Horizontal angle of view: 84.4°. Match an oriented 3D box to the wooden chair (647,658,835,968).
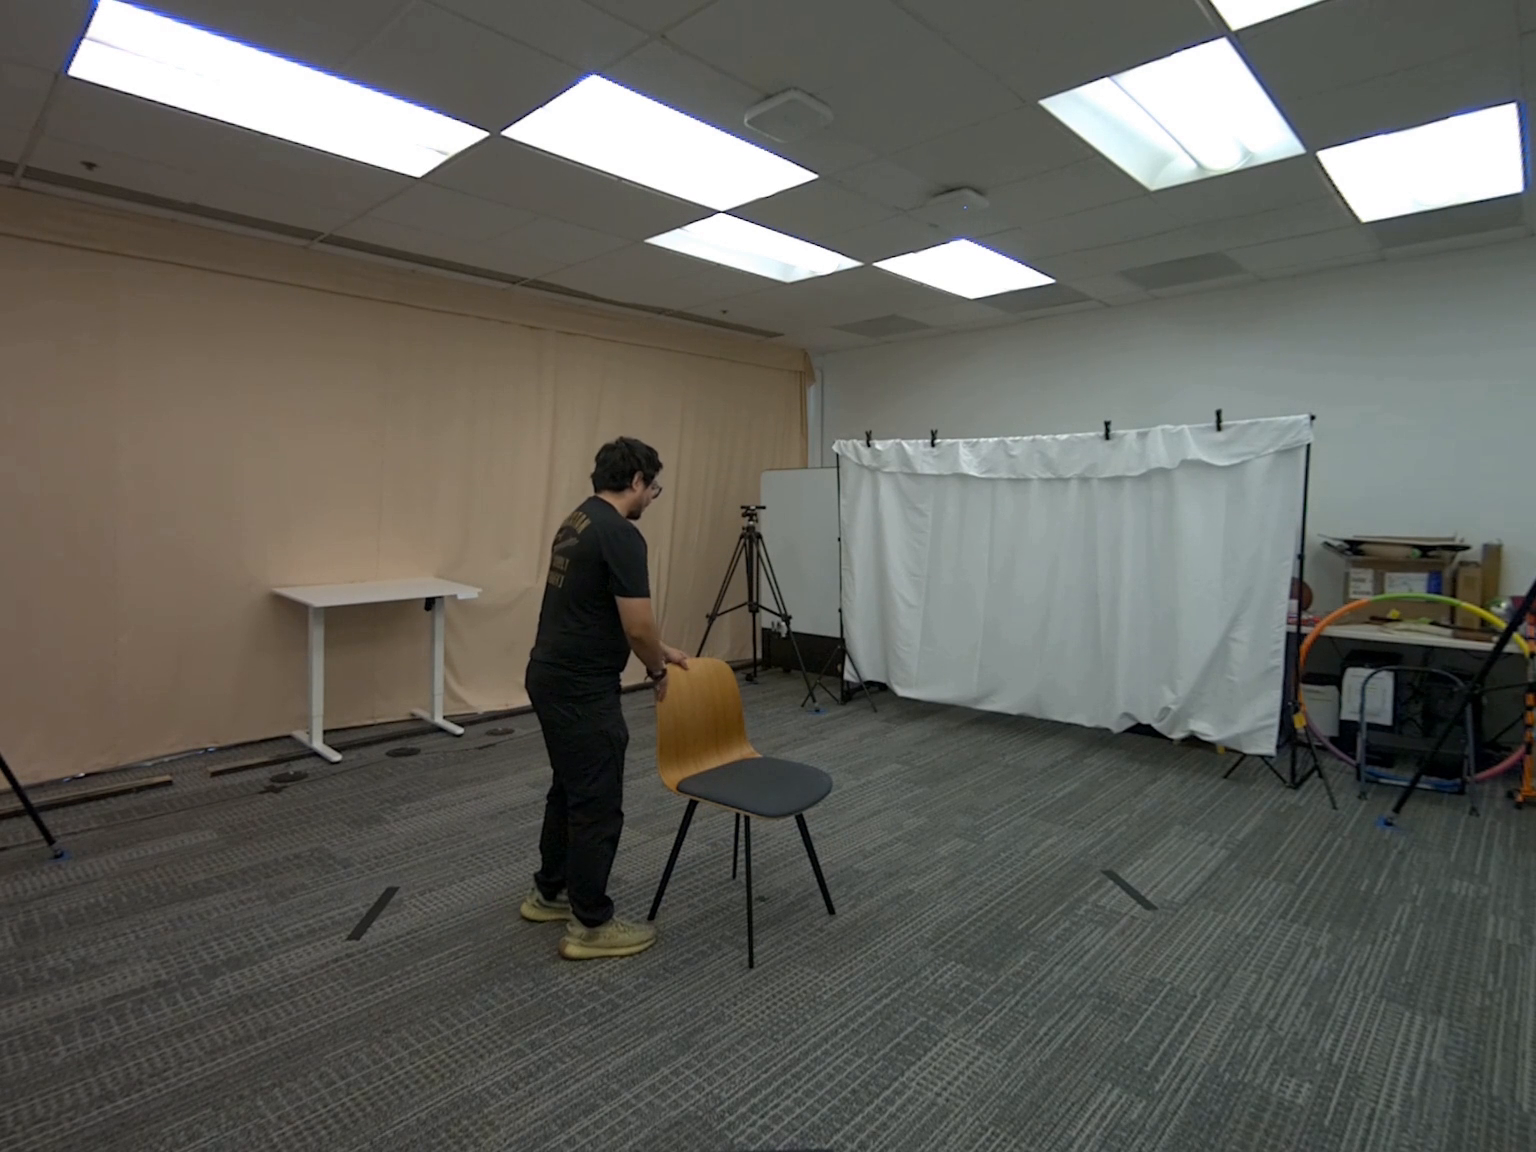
[{"bbox_3d":[-0.078,0.731,2.814,0.539,0.877,0.463,-3,0,40],"label":"wooden chair"}]
